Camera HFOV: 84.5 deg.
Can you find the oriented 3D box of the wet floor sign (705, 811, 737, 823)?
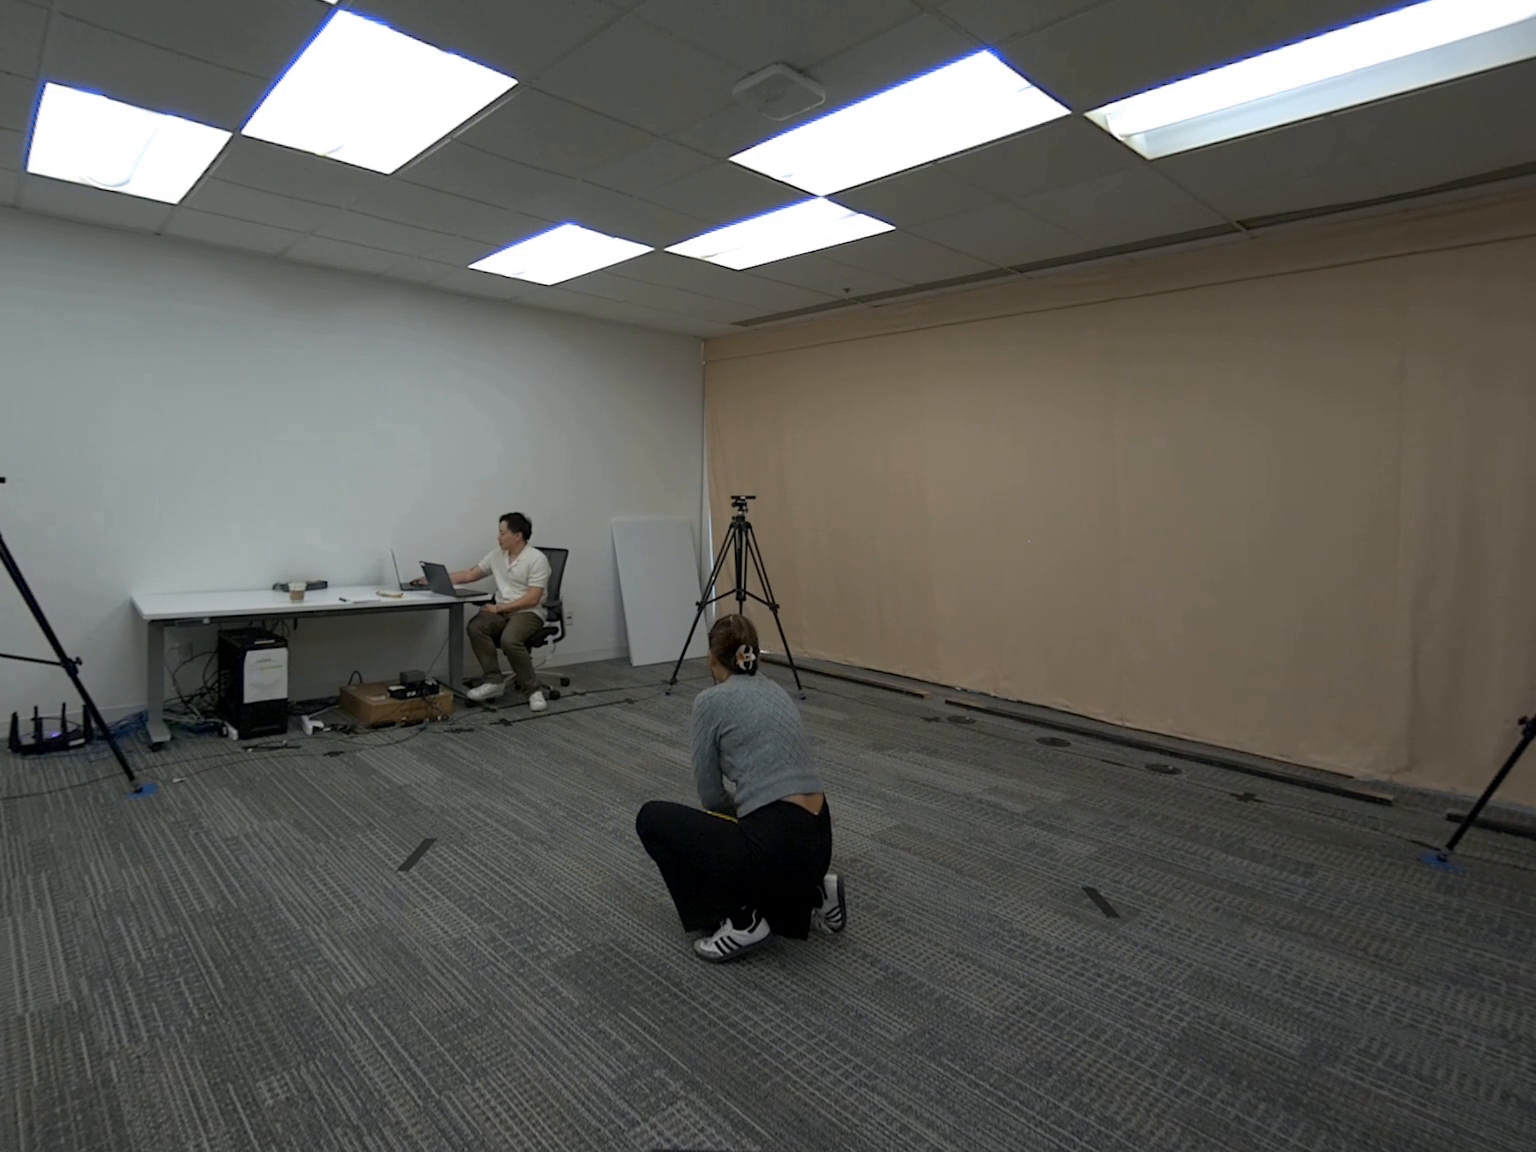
[{"bbox_3d":[-0.048,0.975,3.198,0.292,0.282,0.640,2,2,11],"label":"wet floor sign"}]
